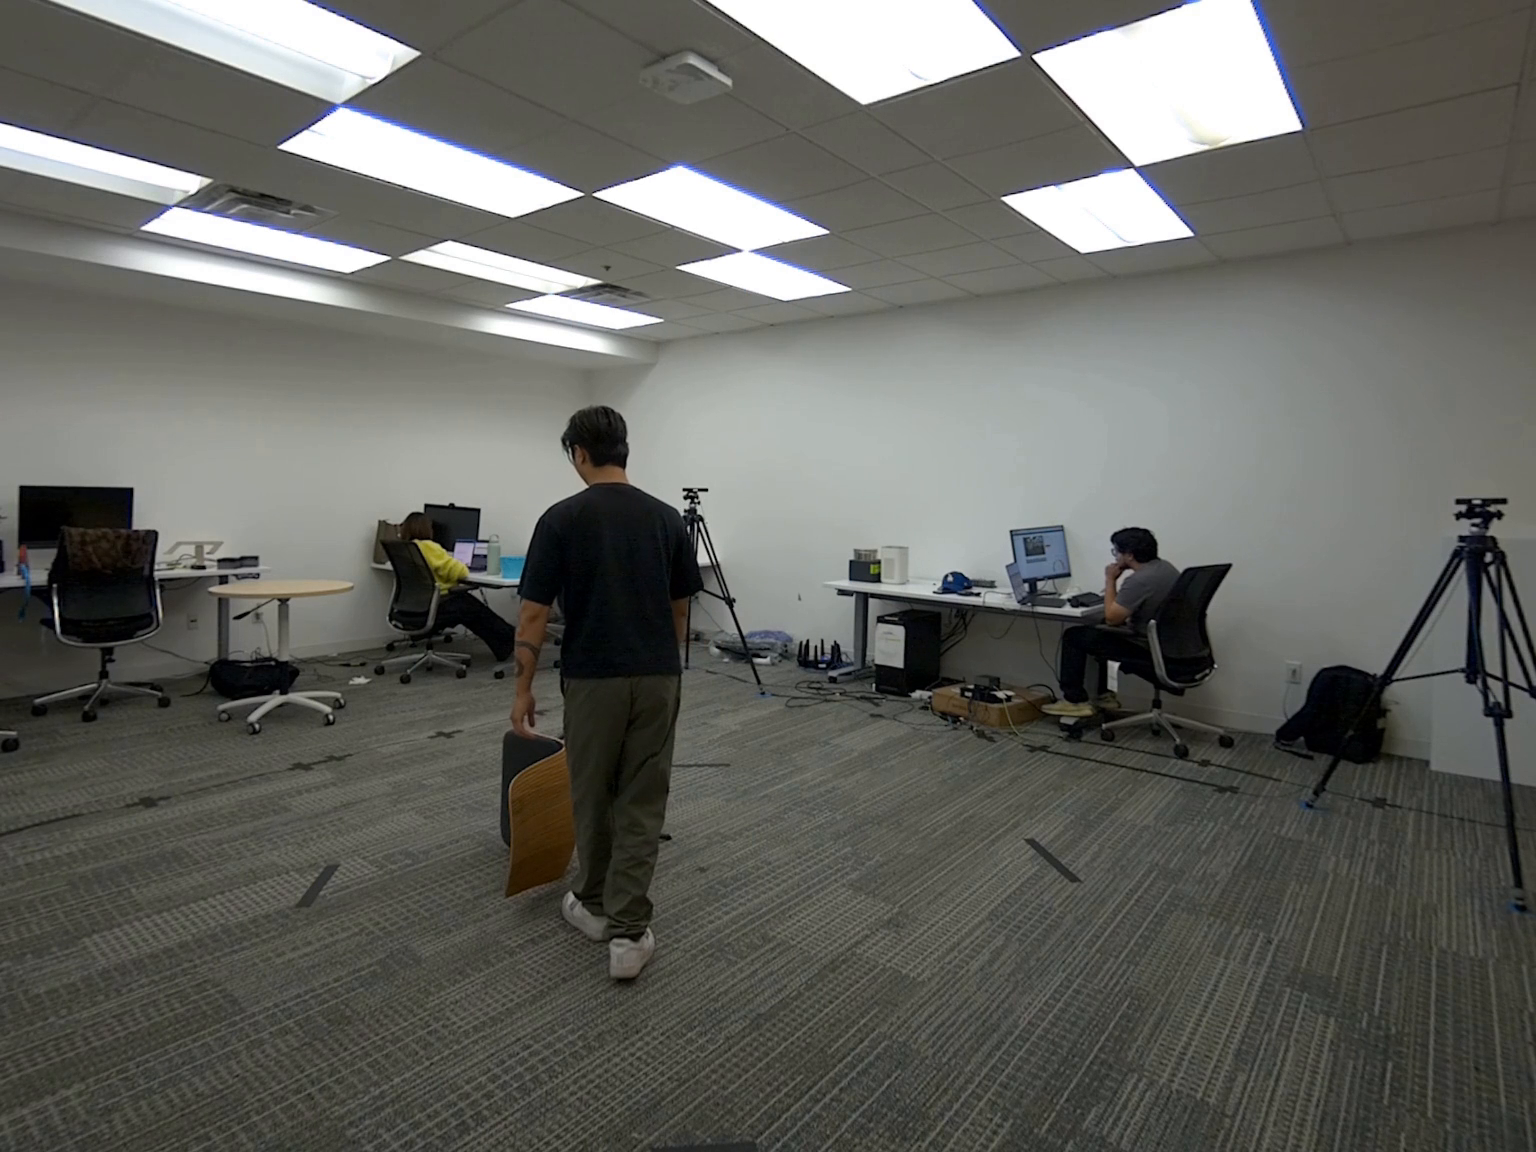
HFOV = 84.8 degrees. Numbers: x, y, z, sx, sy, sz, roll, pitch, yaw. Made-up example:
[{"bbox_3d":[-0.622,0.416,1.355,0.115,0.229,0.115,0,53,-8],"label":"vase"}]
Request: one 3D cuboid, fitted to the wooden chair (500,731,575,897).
[{"bbox_3d":[-0.821,0.824,3.172,0.539,0.476,0.854,4,5,30],"label":"wooden chair"}]
